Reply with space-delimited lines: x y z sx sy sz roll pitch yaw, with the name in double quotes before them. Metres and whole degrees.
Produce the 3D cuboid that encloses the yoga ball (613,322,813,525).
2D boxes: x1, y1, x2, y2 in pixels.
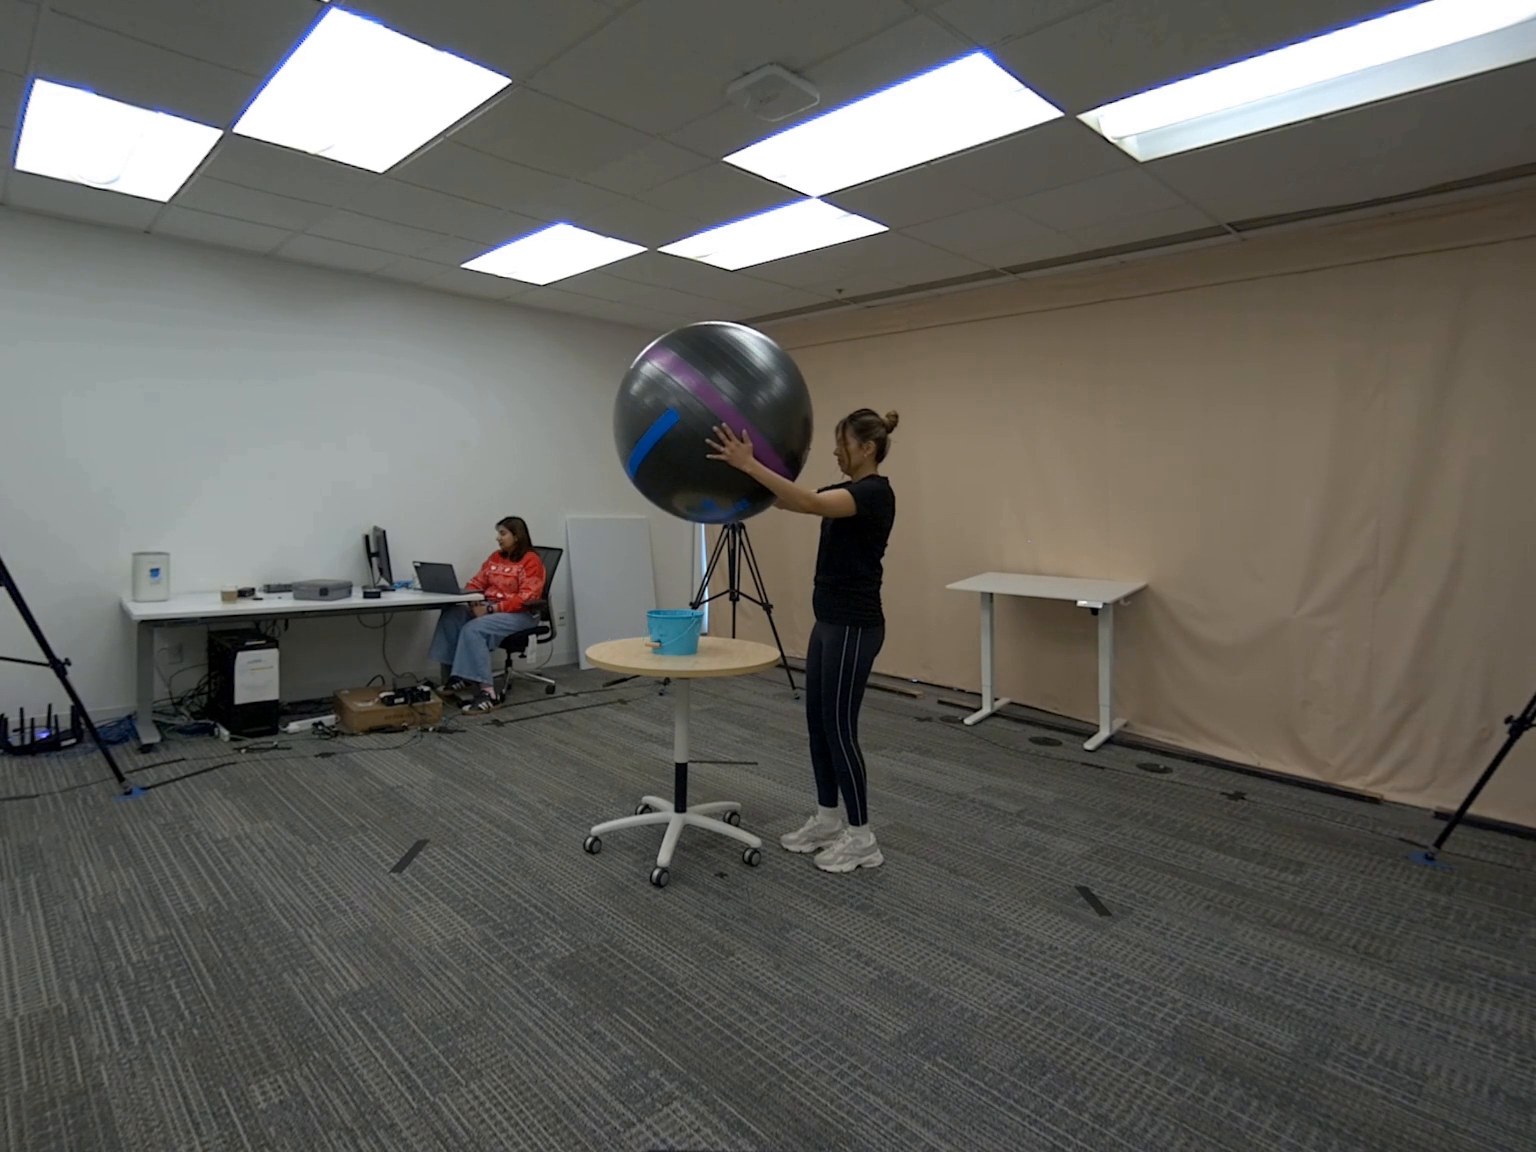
"yoga ball" -0.210 -0.571 3.192 0.757 0.756 0.761 1 4 -1
